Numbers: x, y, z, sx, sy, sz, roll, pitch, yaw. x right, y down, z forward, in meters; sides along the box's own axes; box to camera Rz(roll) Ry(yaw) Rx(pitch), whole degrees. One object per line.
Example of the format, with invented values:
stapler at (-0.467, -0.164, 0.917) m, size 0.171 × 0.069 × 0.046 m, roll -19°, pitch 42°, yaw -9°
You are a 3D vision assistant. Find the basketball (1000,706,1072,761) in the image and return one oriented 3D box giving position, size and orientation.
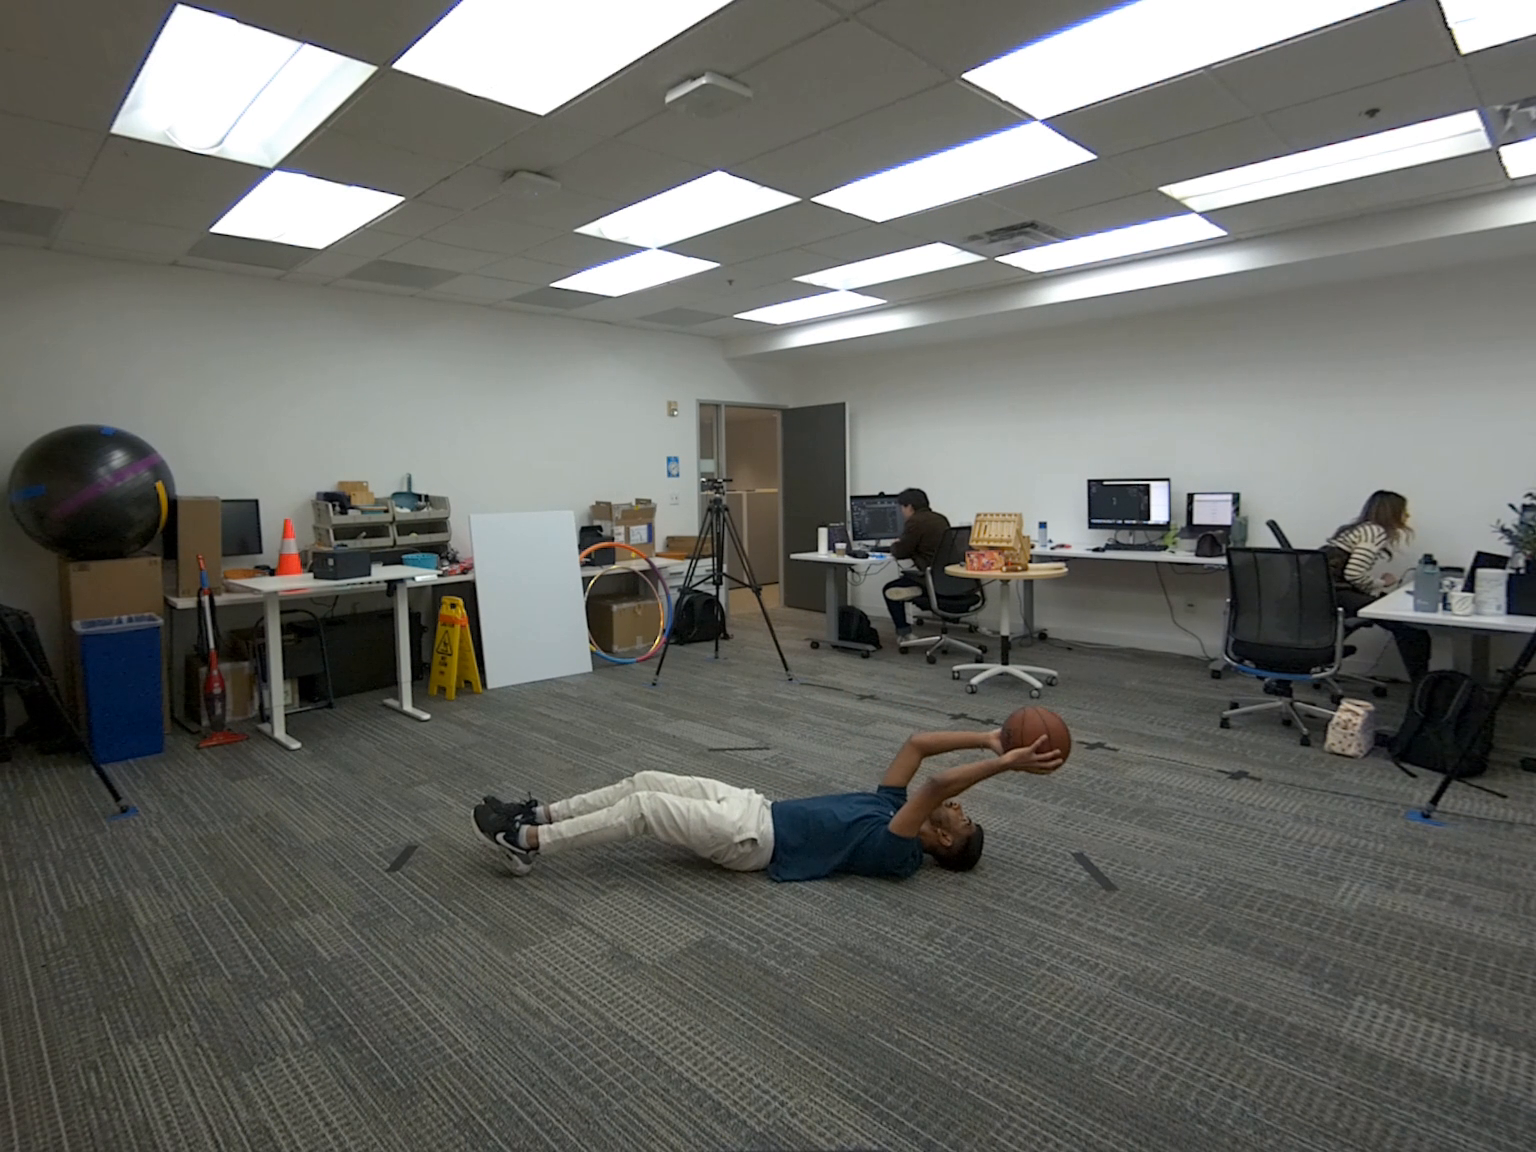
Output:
basketball at (0.952, 0.581, 3.057) m, size 0.236 × 0.235 × 0.237 m, roll -1°, pitch 5°, yaw -2°
